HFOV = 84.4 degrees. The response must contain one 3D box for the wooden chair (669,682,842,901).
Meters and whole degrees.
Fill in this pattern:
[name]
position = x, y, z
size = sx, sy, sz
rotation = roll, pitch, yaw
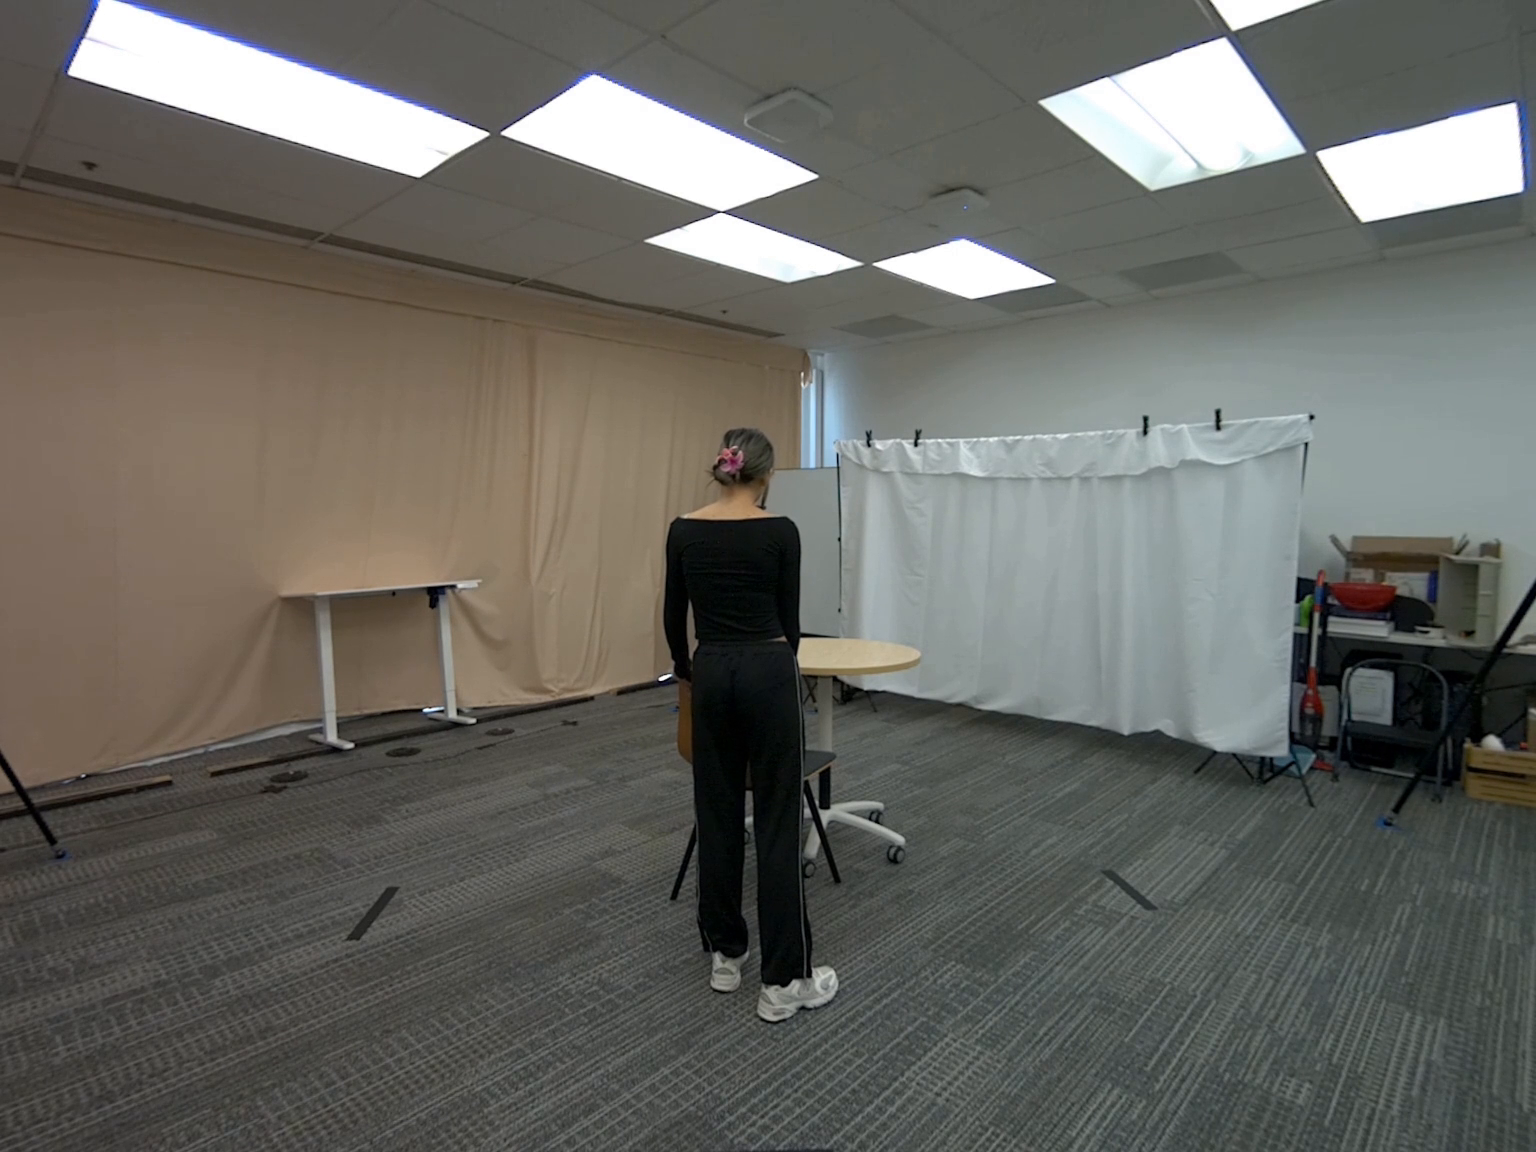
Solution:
[wooden chair]
position = -0.035, 0.711, 3.017
size = 0.492, 0.873, 0.510
rotation = 2, 8, 32
